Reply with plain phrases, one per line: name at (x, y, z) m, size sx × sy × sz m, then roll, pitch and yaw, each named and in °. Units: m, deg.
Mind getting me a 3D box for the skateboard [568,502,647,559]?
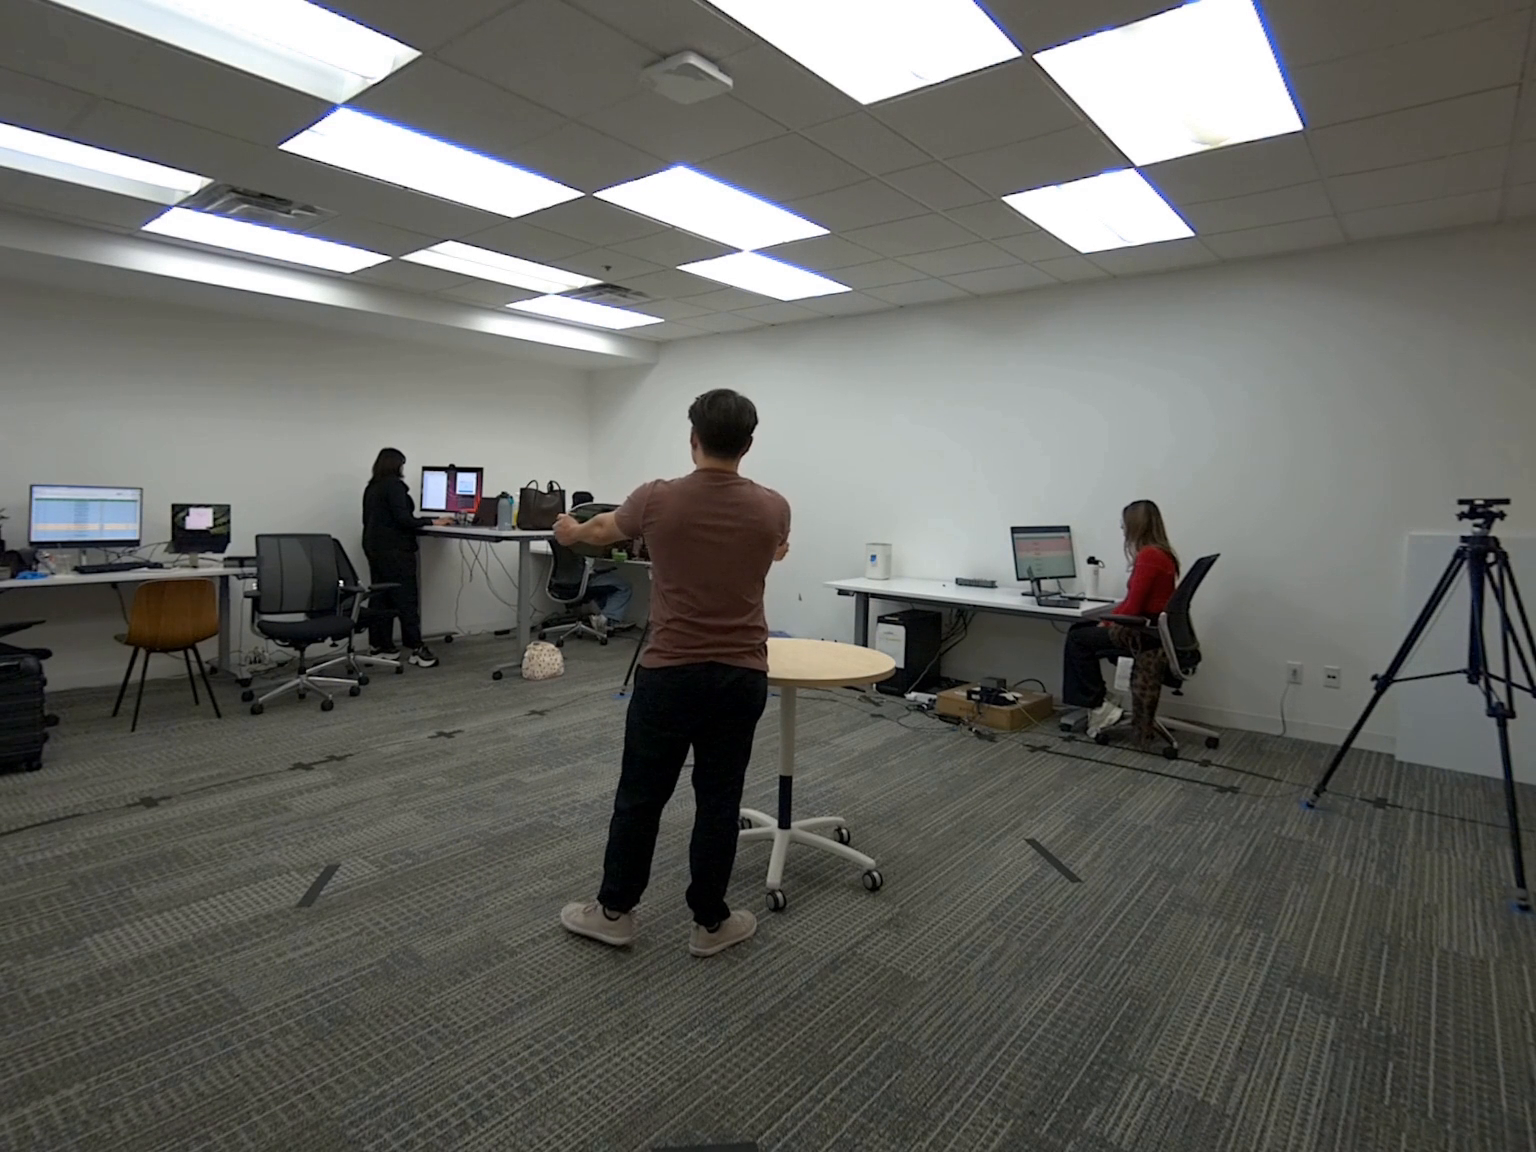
skateboard at (-0.403, -0.146, 2.942) m, size 0.770 × 0.193 × 0.113 m, roll 4°, pitch 3°, yaw -18°
